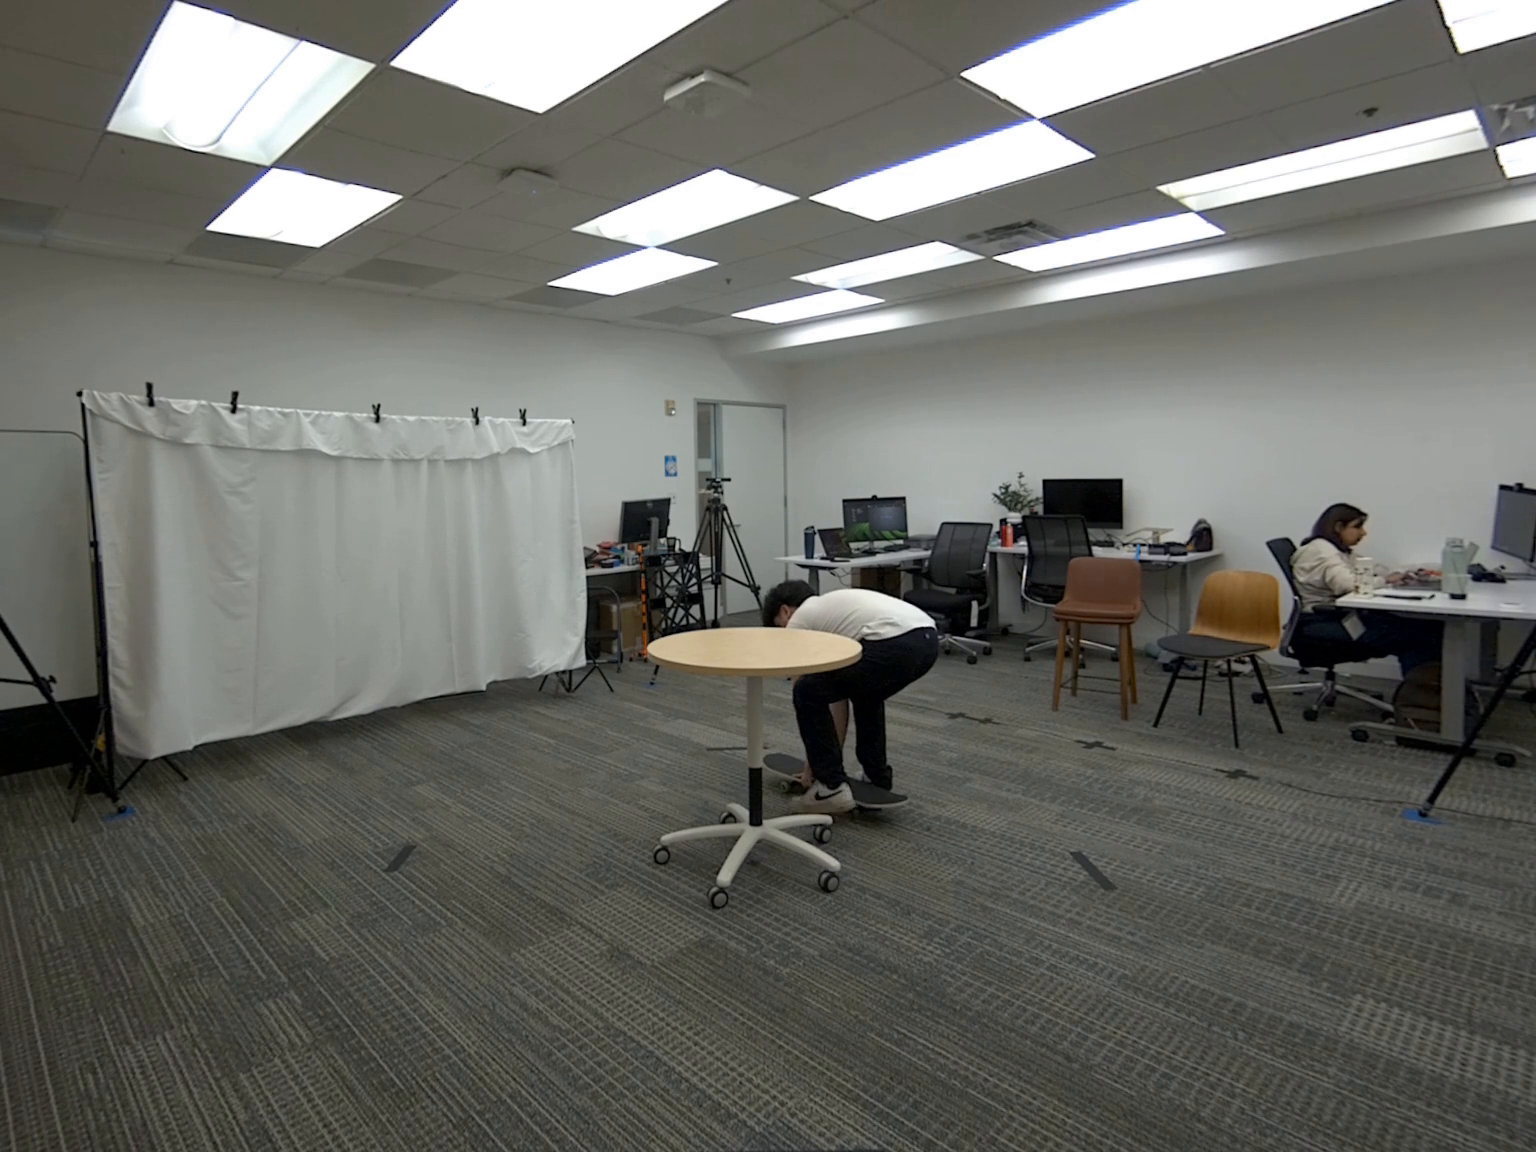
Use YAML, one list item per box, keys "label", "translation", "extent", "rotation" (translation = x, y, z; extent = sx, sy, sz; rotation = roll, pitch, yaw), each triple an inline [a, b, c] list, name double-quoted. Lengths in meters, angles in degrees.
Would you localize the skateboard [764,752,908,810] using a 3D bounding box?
- label: "skateboard"
  translation: [0.269, 0.922, 3.689]
  extent: [0.188, 0.110, 0.810]
  rotation: [-6, 8, -40]
